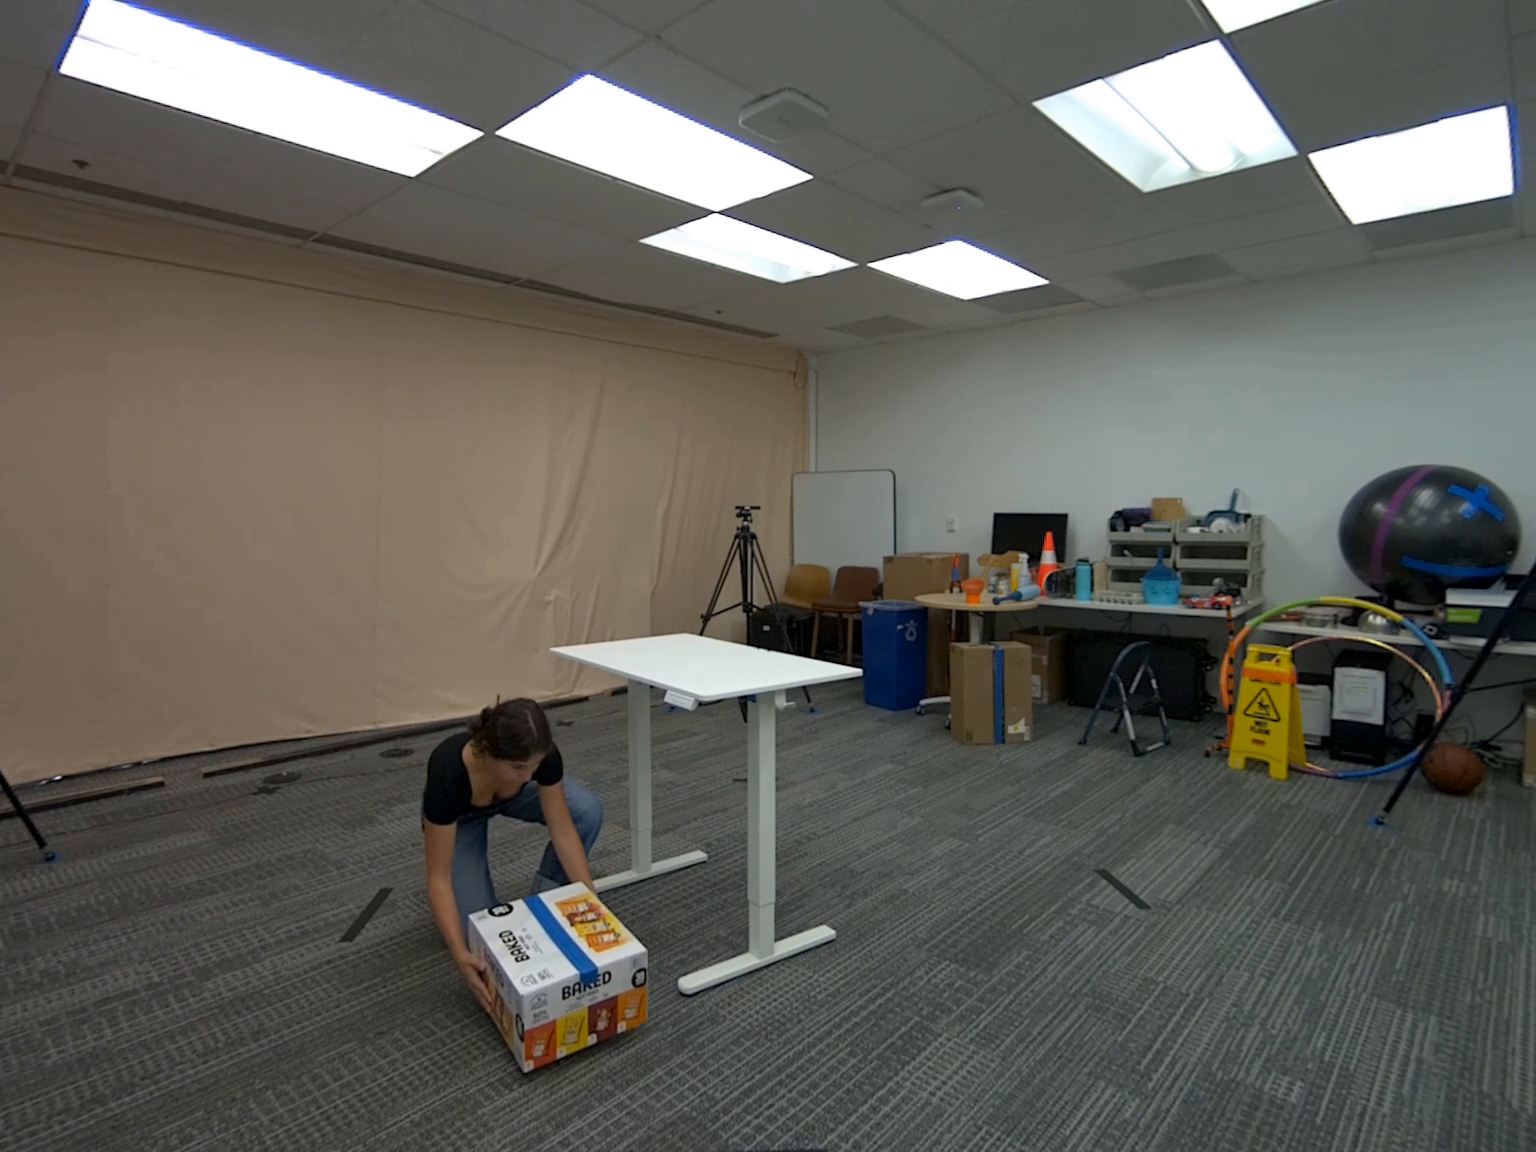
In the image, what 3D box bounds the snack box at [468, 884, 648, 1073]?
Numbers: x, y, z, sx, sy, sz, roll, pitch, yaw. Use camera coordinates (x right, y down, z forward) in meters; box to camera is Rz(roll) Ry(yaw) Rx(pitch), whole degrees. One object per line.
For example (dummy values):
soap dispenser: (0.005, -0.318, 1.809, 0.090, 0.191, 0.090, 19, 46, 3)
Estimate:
snack box: (-0.571, 1.051, 2.248, 0.330, 0.204, 0.419, -5, 11, -36)
